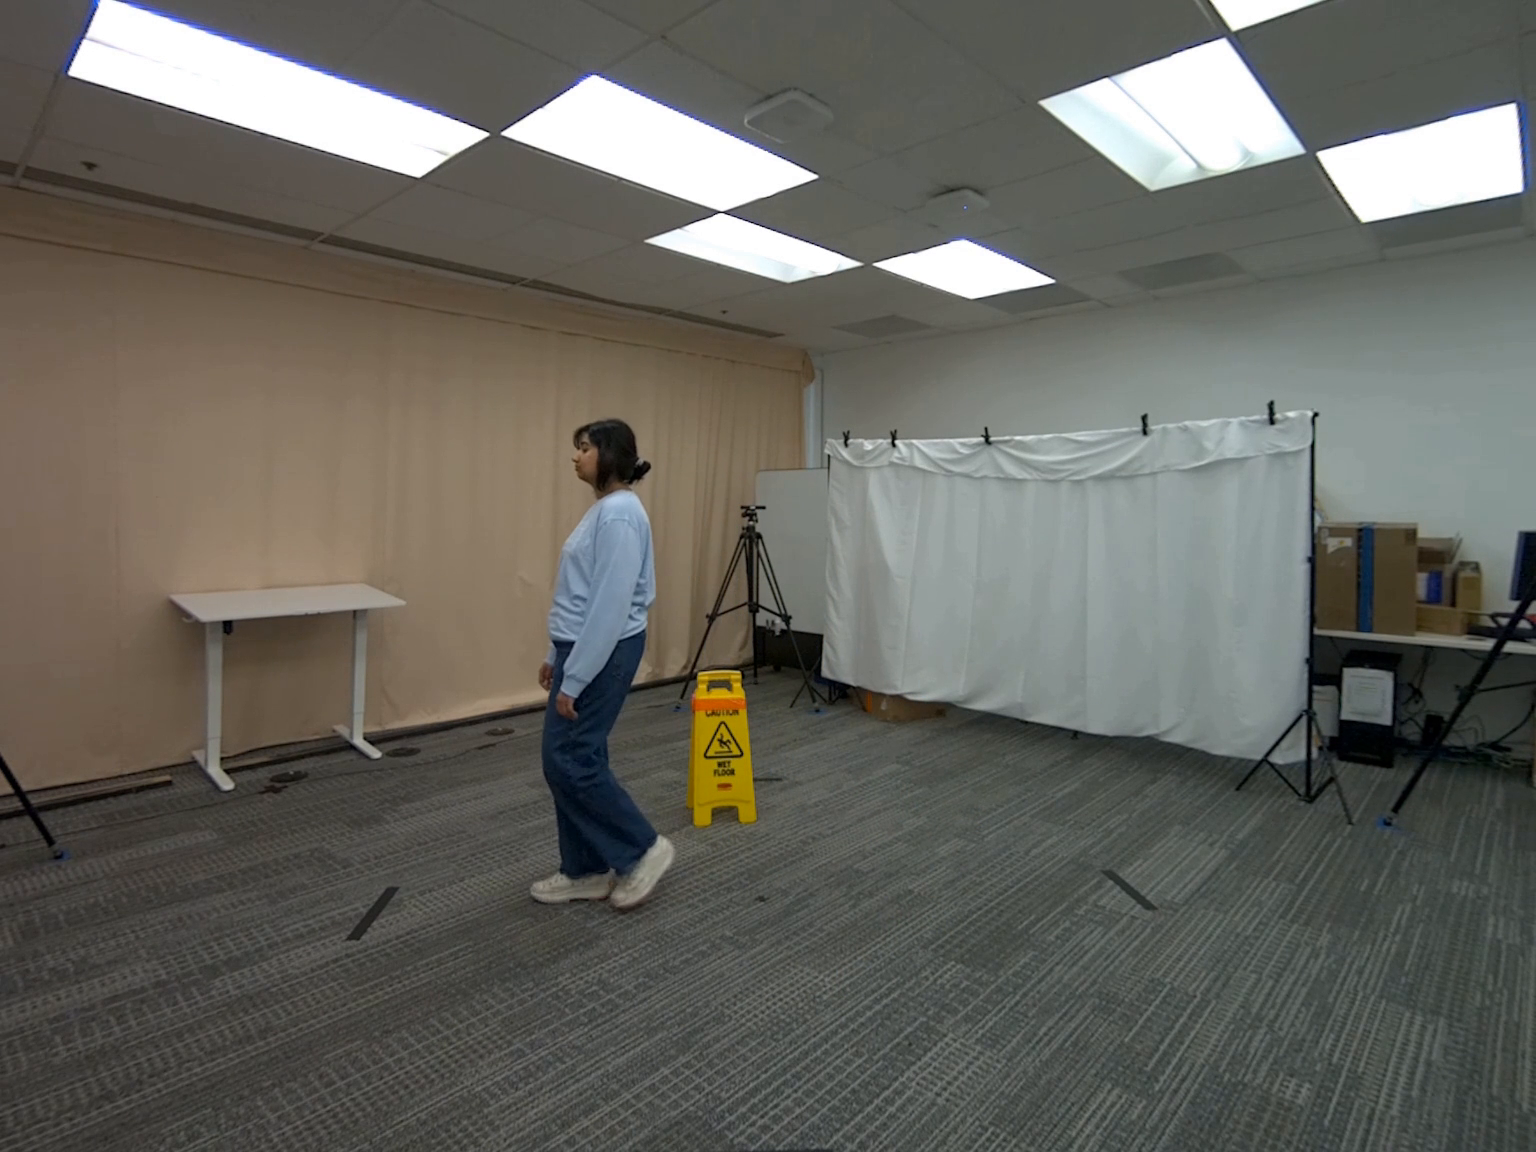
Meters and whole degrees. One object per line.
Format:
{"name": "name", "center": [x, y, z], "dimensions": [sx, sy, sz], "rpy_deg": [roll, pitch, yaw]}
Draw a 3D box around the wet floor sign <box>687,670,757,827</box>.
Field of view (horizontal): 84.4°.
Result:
{"name": "wet floor sign", "center": [-0.214, 0.752, 3.798], "dimensions": [0.279, 0.645, 0.293], "rpy_deg": [-2, 3, -11]}
